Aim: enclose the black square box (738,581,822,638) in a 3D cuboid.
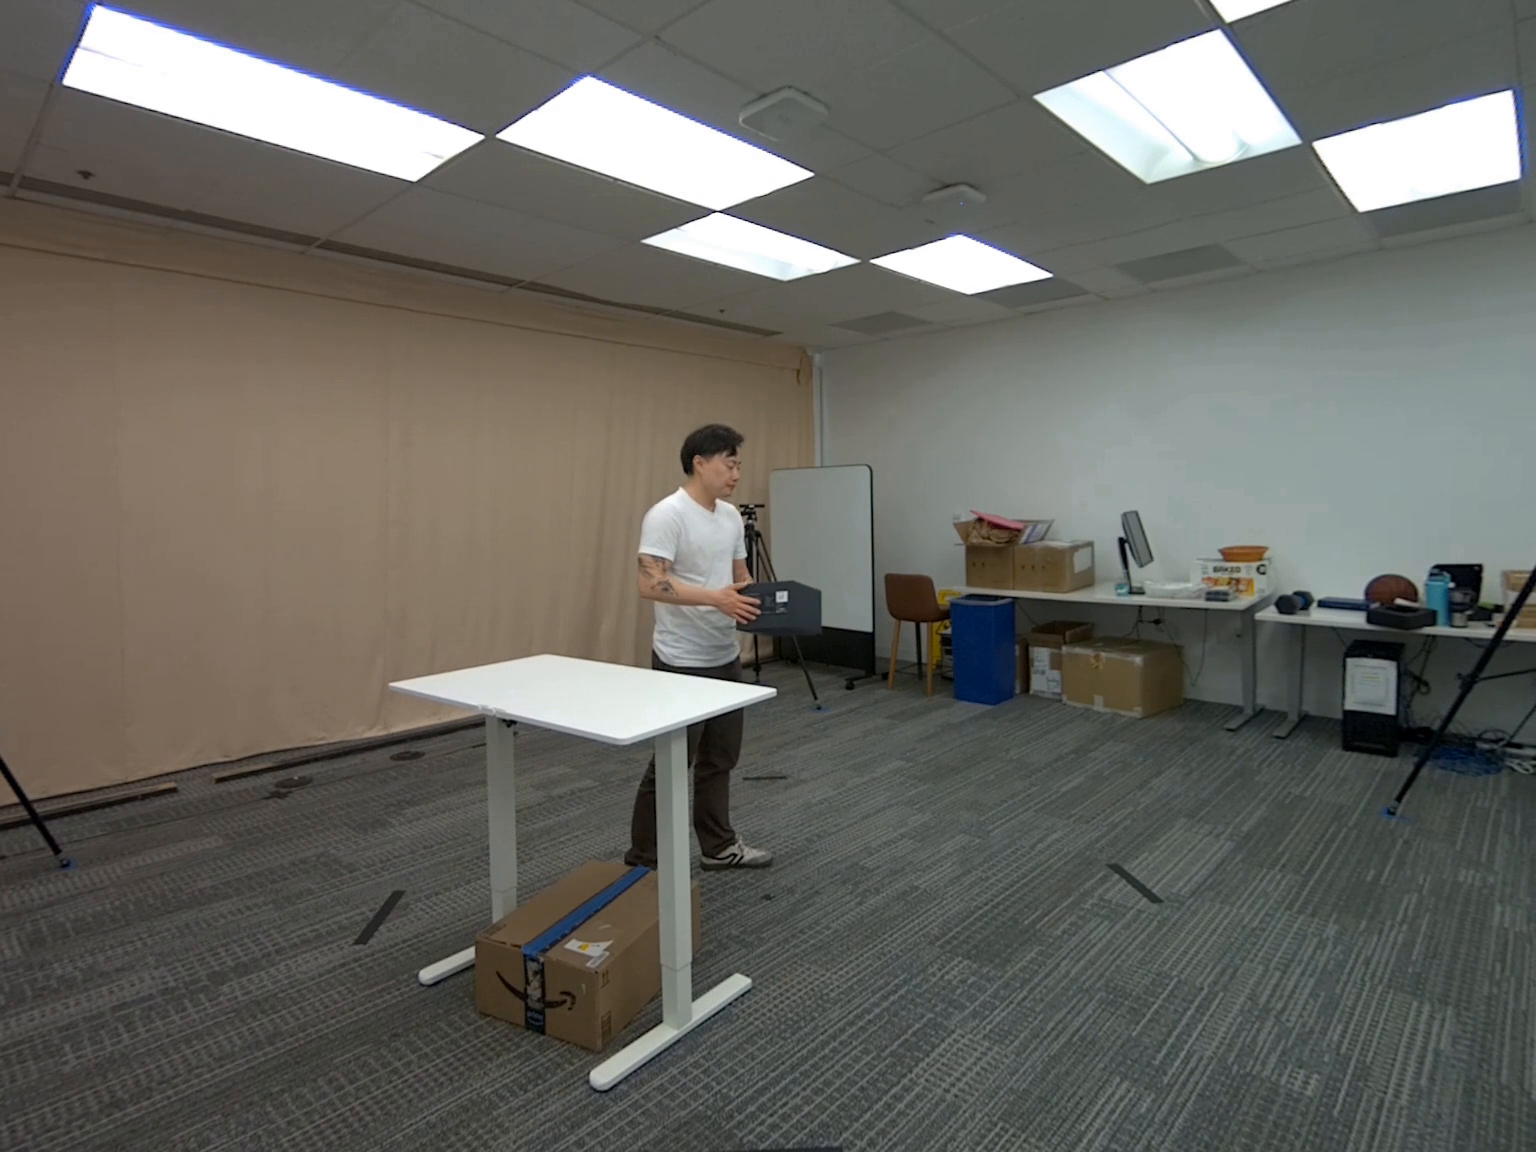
[{"bbox_3d":[0.036,0.109,2.870,0.222,0.157,0.220,-4,-12,28],"label":"black square box"}]
